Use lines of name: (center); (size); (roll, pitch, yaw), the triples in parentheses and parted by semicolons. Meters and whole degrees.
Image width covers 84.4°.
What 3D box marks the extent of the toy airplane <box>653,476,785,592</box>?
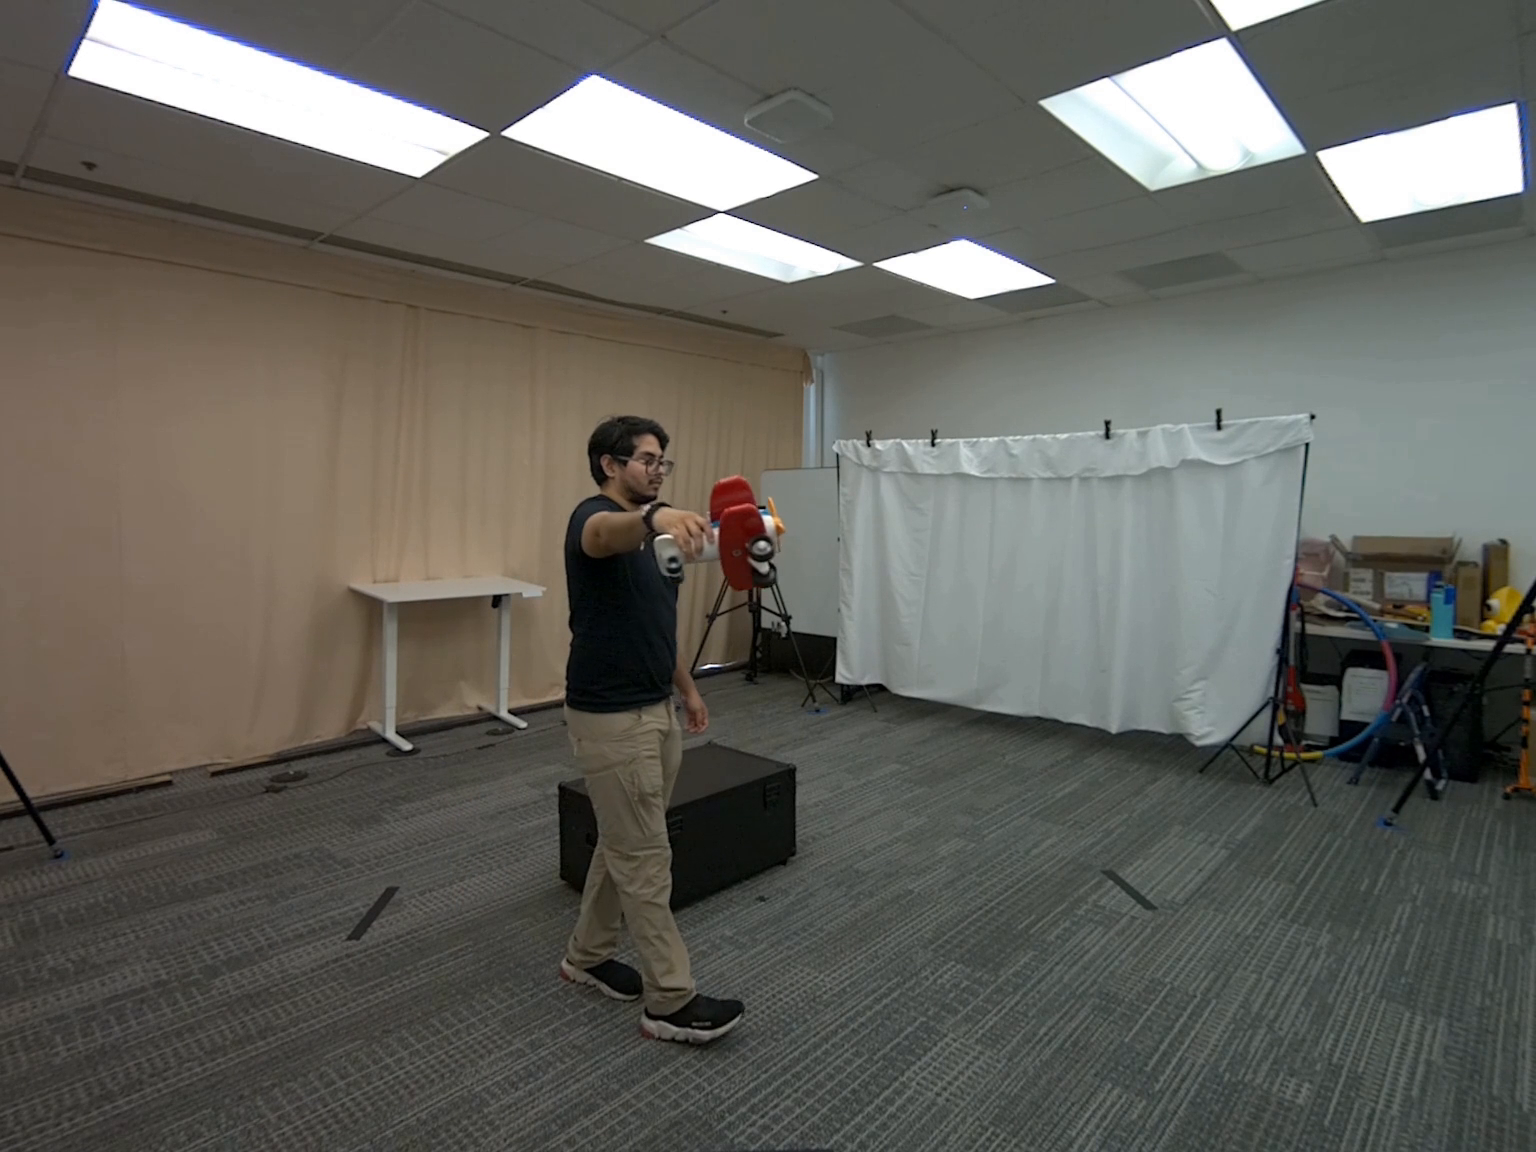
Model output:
toy airplane: (-0.092, -0.077, 1.676); (0.254, 0.159, 0.252); (16, -43, -19)
